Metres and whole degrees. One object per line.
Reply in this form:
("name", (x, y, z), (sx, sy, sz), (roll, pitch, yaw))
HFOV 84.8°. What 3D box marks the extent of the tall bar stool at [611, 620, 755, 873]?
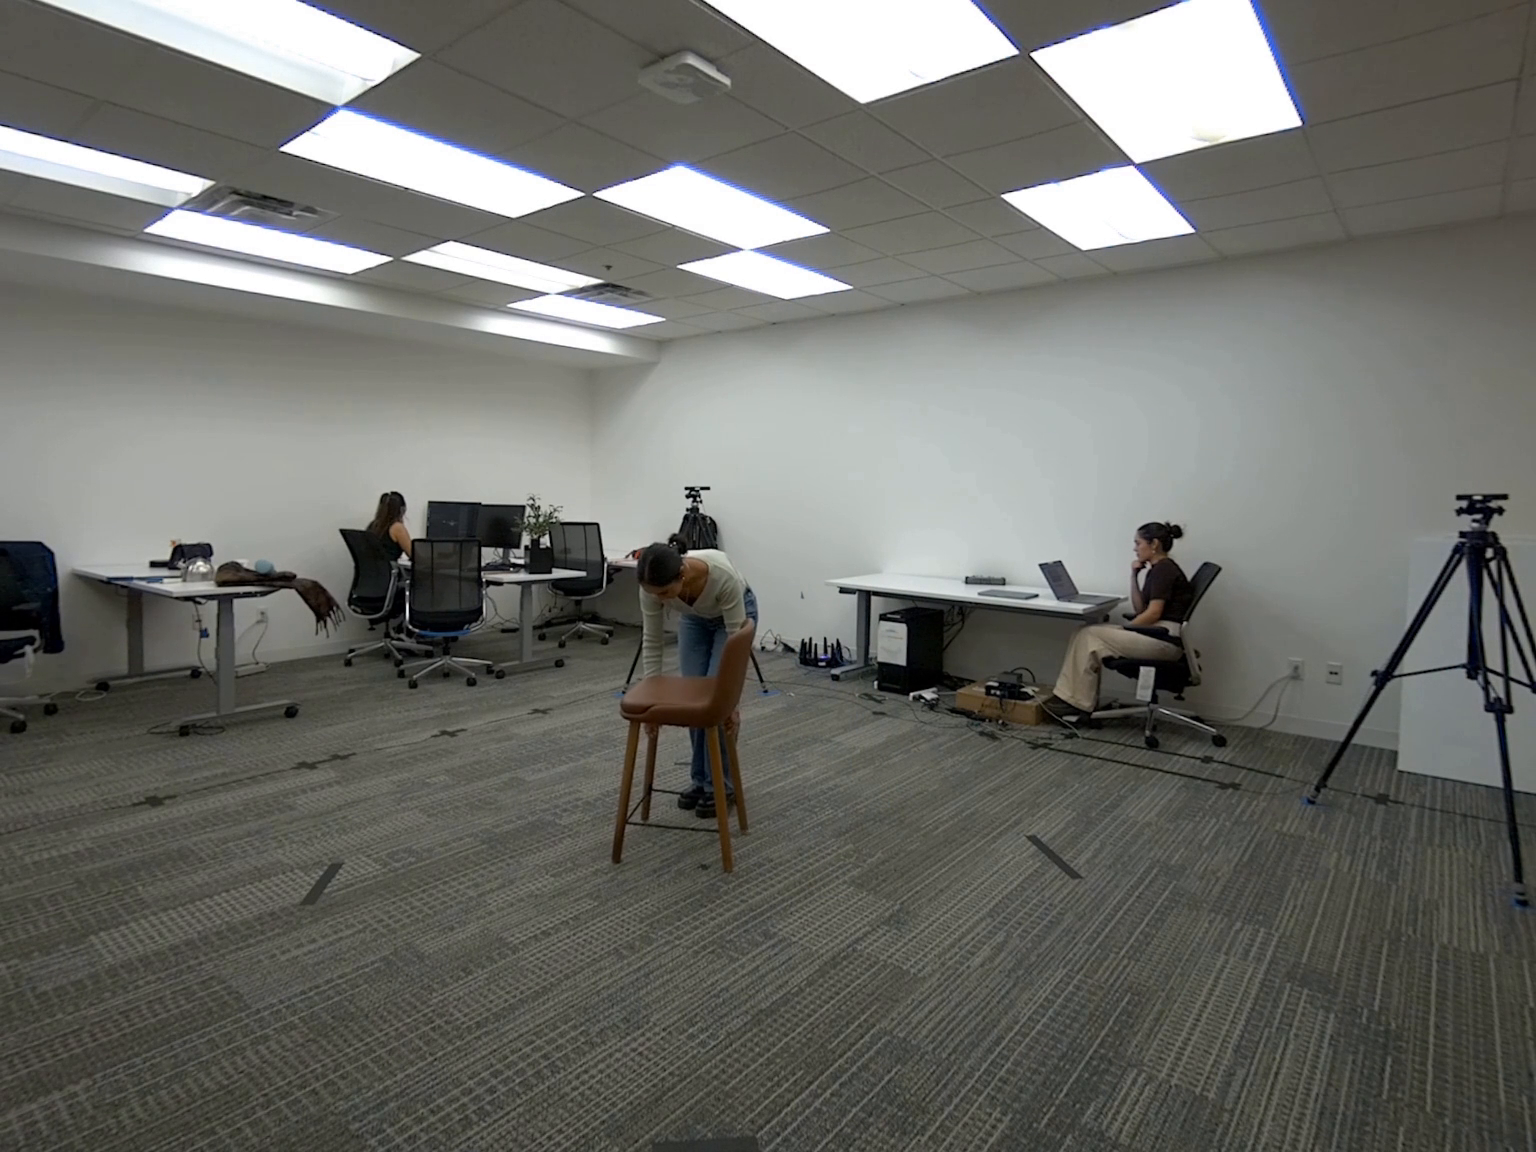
("tall bar stool", (-0.333, 0.613, 3.255), (0.474, 0.885, 0.453), (2, 5, 11))
